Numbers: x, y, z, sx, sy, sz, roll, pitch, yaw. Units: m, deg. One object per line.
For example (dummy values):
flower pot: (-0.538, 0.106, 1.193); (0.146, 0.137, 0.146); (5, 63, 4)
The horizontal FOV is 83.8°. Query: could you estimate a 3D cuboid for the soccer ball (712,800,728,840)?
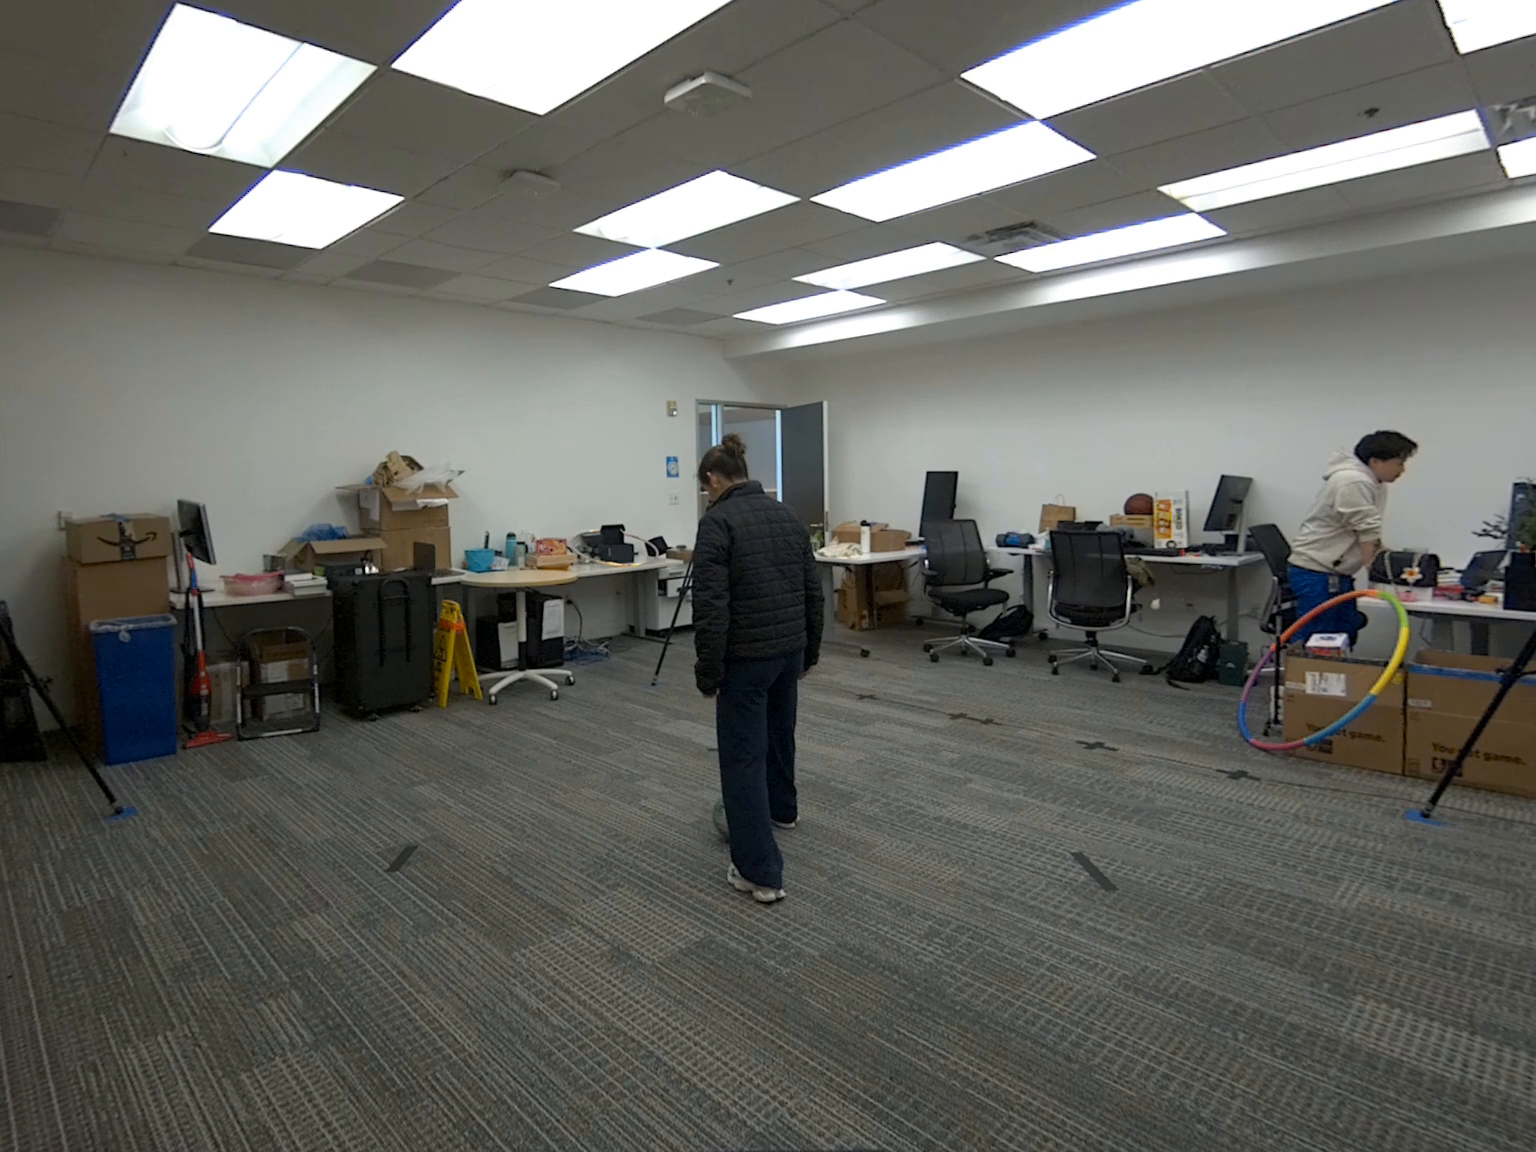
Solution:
soccer ball: (-0.113, 0.931, 3.313); (0.187, 0.187, 0.188); (-1, 5, -2)
